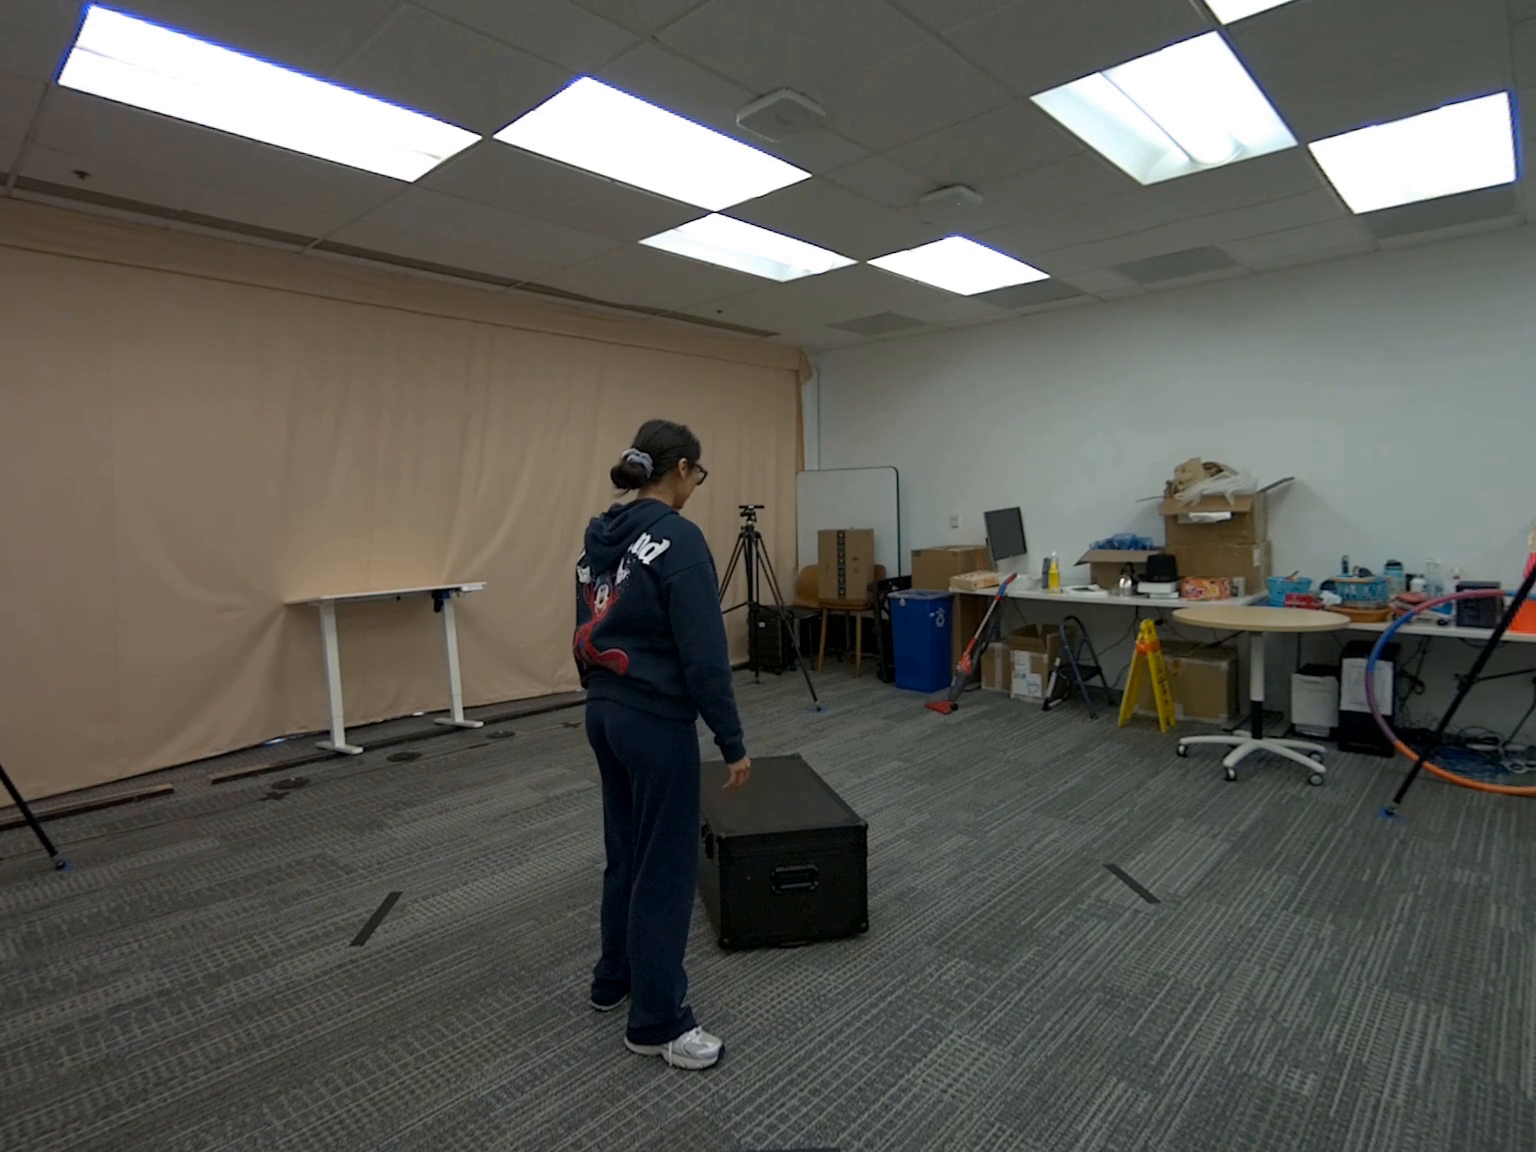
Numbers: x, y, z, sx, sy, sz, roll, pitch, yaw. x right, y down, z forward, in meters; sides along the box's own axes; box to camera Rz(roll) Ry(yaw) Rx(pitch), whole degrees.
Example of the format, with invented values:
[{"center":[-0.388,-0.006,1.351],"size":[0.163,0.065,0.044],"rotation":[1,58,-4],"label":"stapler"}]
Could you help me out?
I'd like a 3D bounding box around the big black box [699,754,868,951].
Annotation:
[{"center":[-0.012,0.943,3.045],"size":[0.515,0.395,0.875],"rotation":[-2,5,-13],"label":"big black box"}]
